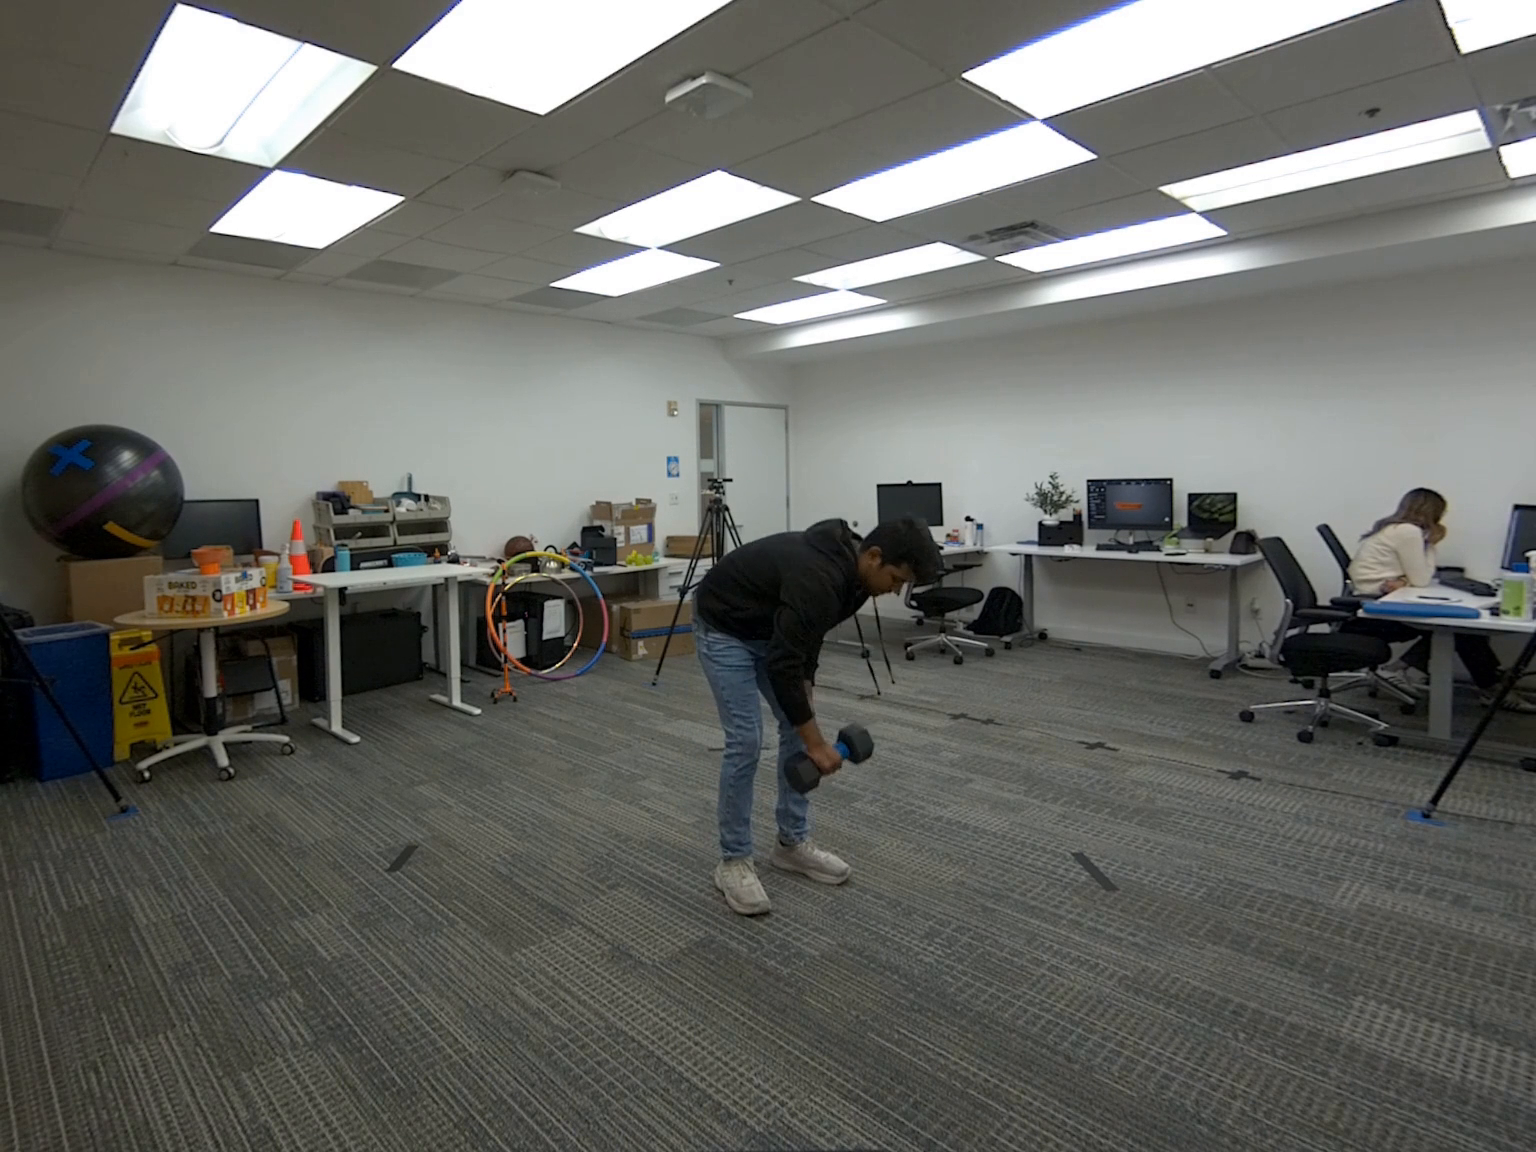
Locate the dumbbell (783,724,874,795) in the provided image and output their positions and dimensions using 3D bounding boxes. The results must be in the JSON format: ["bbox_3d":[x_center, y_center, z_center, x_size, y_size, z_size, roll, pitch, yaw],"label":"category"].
[{"bbox_3d":[0.199,0.571,2.712,0.290,0.107,0.127,-22,18,-25],"label":"dumbbell"}]
